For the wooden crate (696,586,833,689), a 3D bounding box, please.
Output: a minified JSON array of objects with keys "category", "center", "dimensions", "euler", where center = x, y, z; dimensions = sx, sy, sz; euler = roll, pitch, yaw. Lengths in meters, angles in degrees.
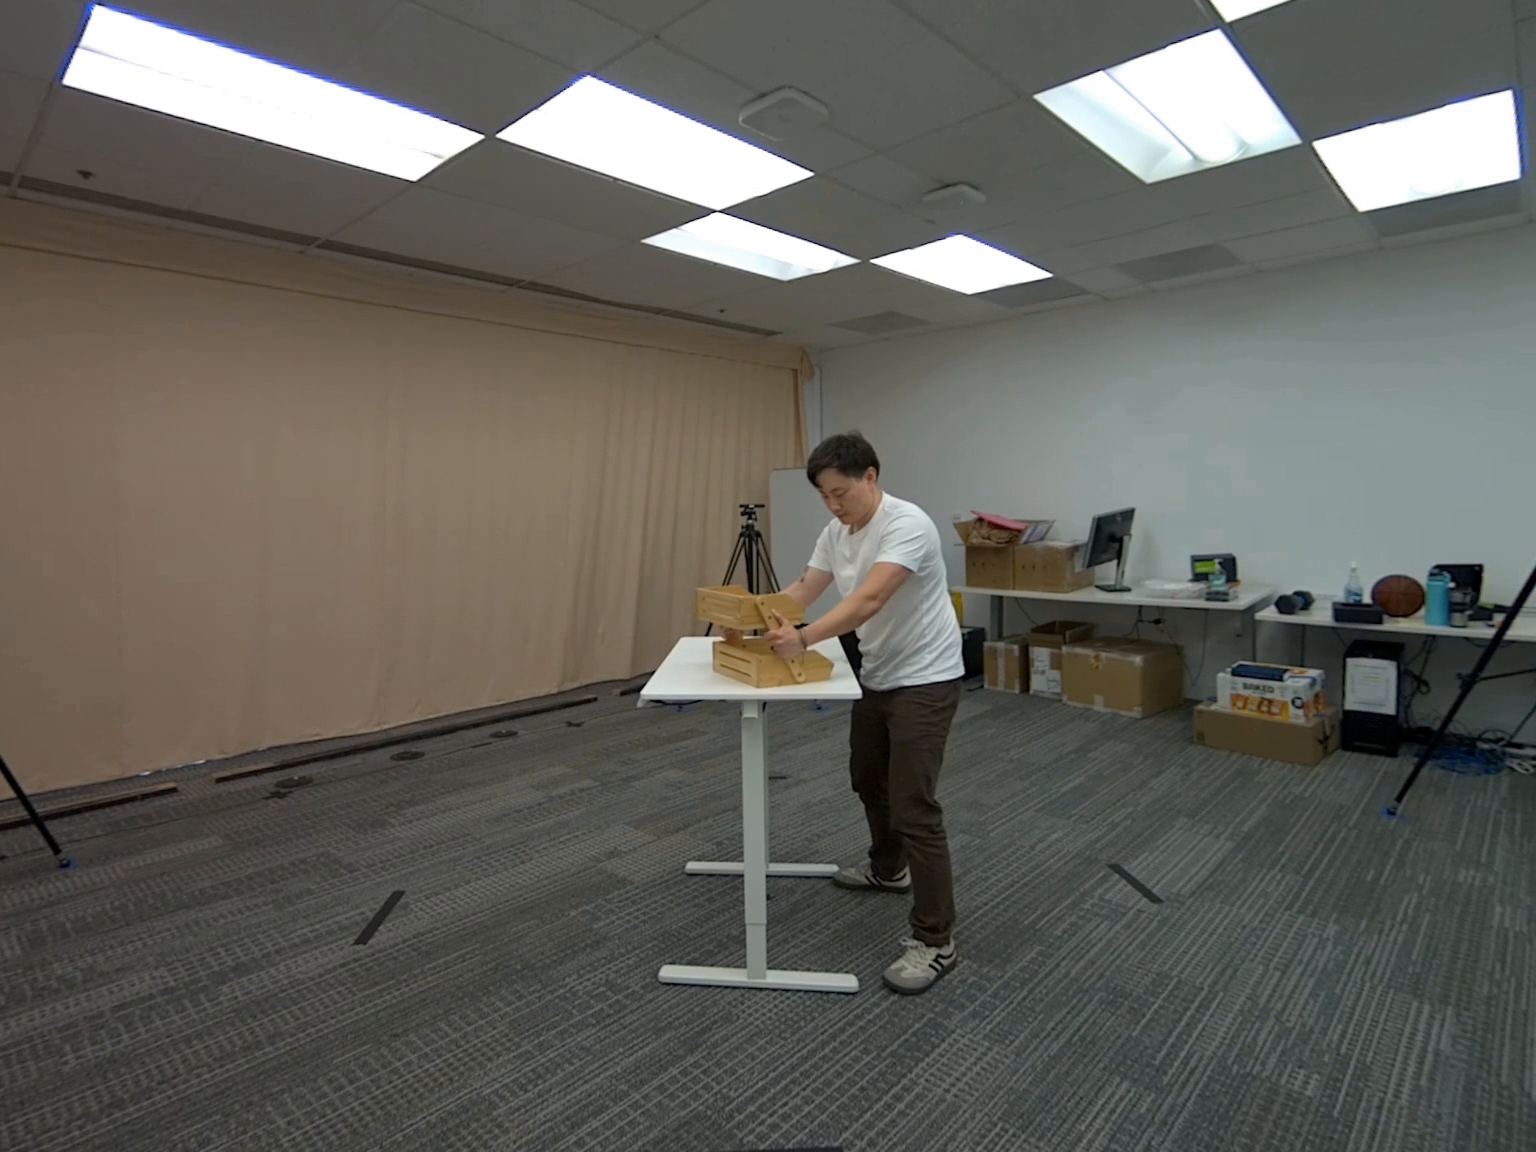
[{"category":"wooden crate","center":[-0.010,0.168,2.501],"dimensions":[0.295,0.272,0.333],"euler":[-4,5,-27]}]
